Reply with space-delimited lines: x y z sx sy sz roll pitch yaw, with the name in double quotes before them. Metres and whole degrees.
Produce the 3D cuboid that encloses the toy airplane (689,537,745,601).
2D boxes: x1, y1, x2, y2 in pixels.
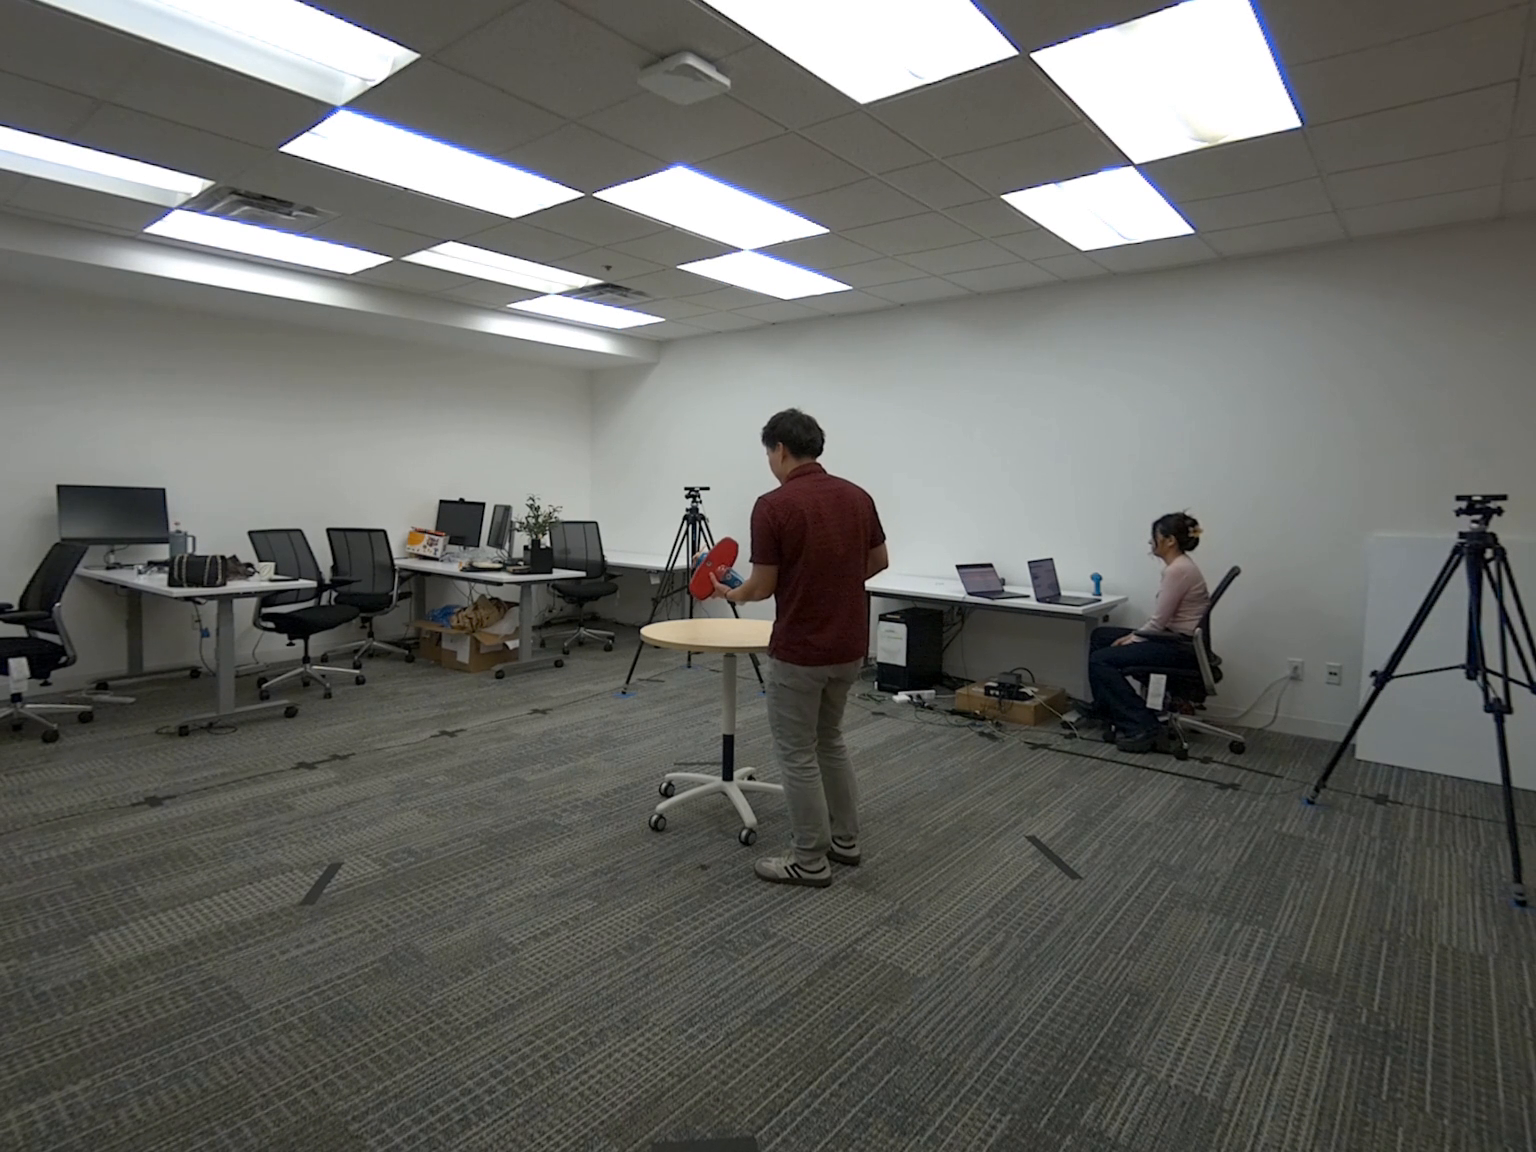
"toy airplane" -0.170 -0.023 3.248 0.263 0.255 0.152 4 -19 13
